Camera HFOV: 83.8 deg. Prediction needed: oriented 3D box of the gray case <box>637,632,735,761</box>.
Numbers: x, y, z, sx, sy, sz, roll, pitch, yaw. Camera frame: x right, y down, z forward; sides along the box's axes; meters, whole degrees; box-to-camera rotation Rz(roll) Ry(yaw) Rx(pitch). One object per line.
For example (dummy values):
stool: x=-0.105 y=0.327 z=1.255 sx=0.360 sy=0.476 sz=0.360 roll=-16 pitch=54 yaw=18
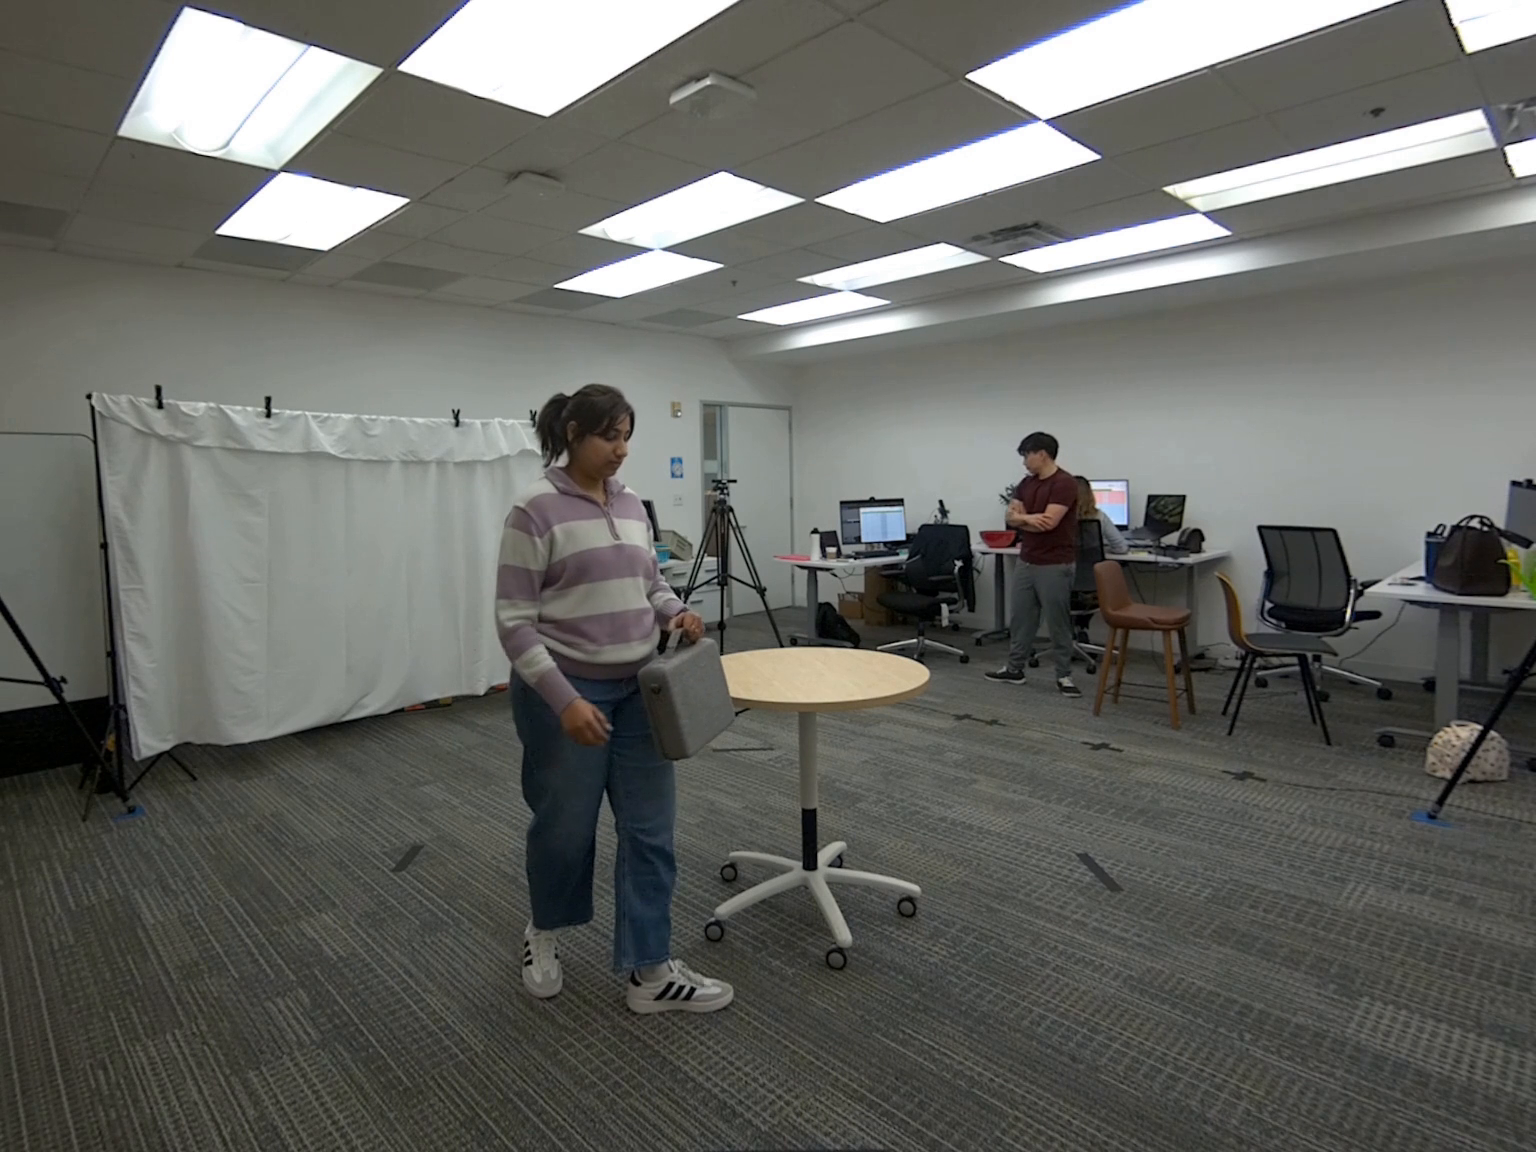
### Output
gray case: x=-0.217 y=0.302 z=2.238 sx=0.107 sy=0.258 sz=0.253 roll=-9 pitch=10 yaw=38
